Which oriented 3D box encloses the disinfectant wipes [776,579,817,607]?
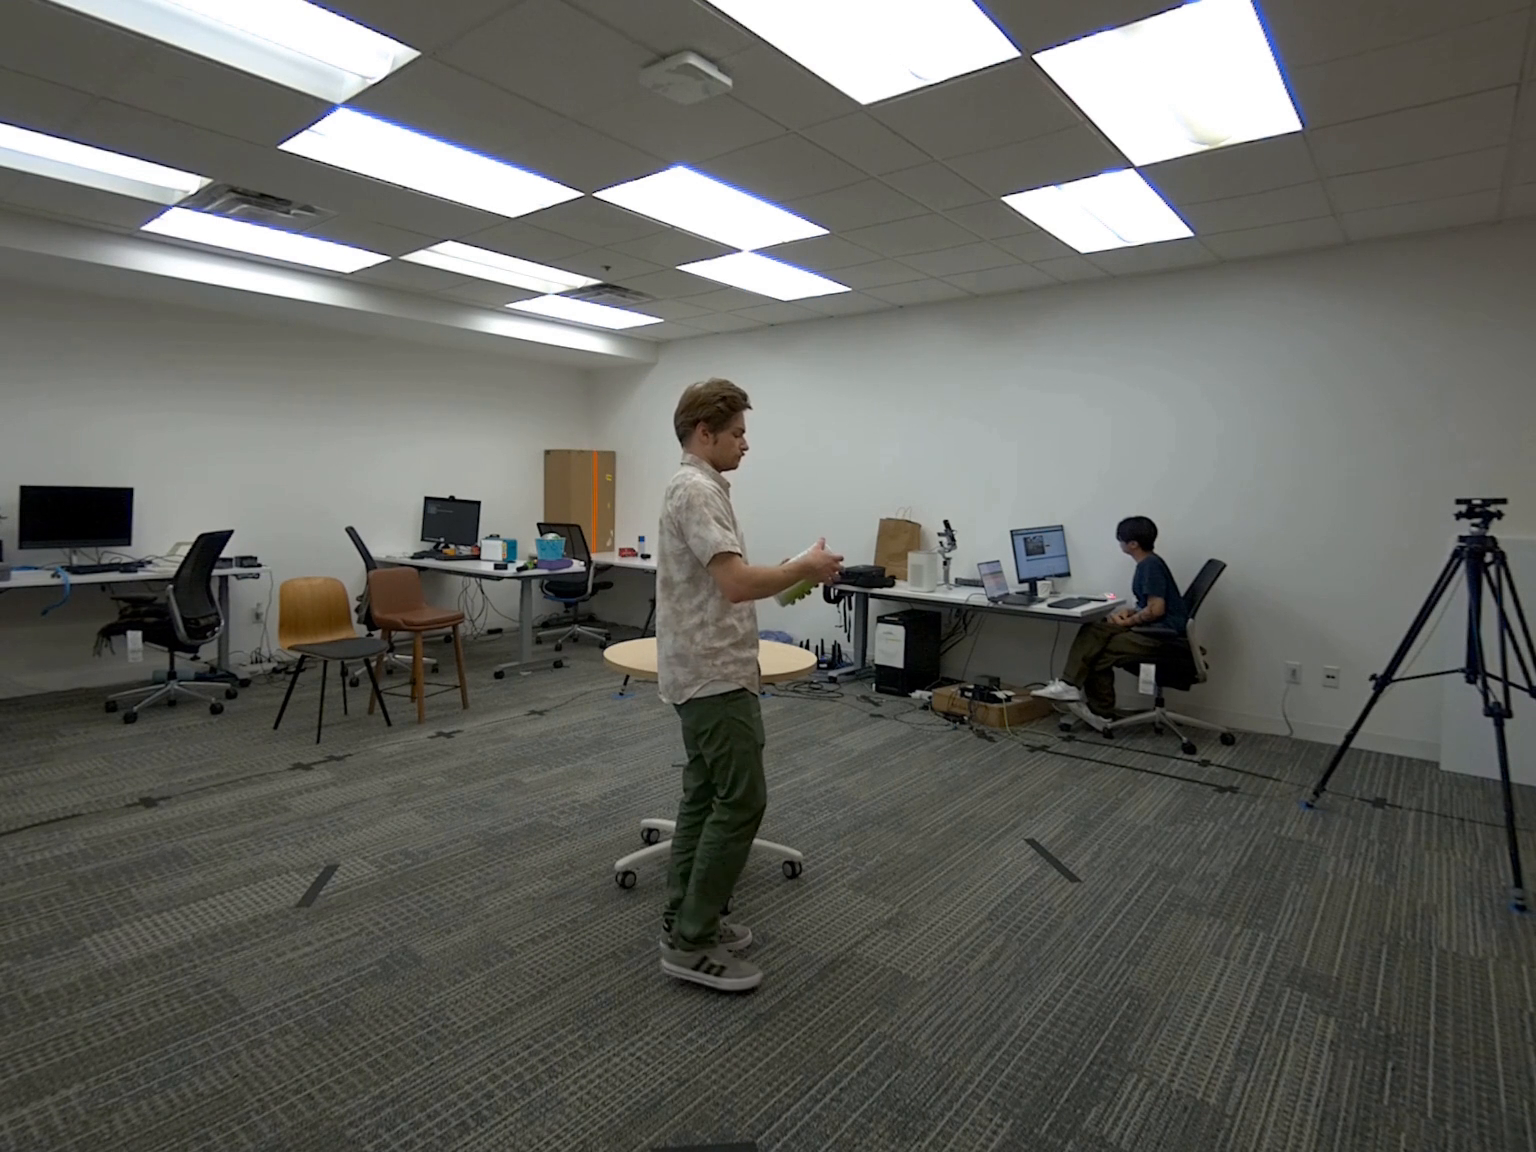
[{"bbox_3d":[0.097,-0.006,2.550,0.217,0.117,0.119,-32,6,-2],"label":"disinfectant wipes"}]
